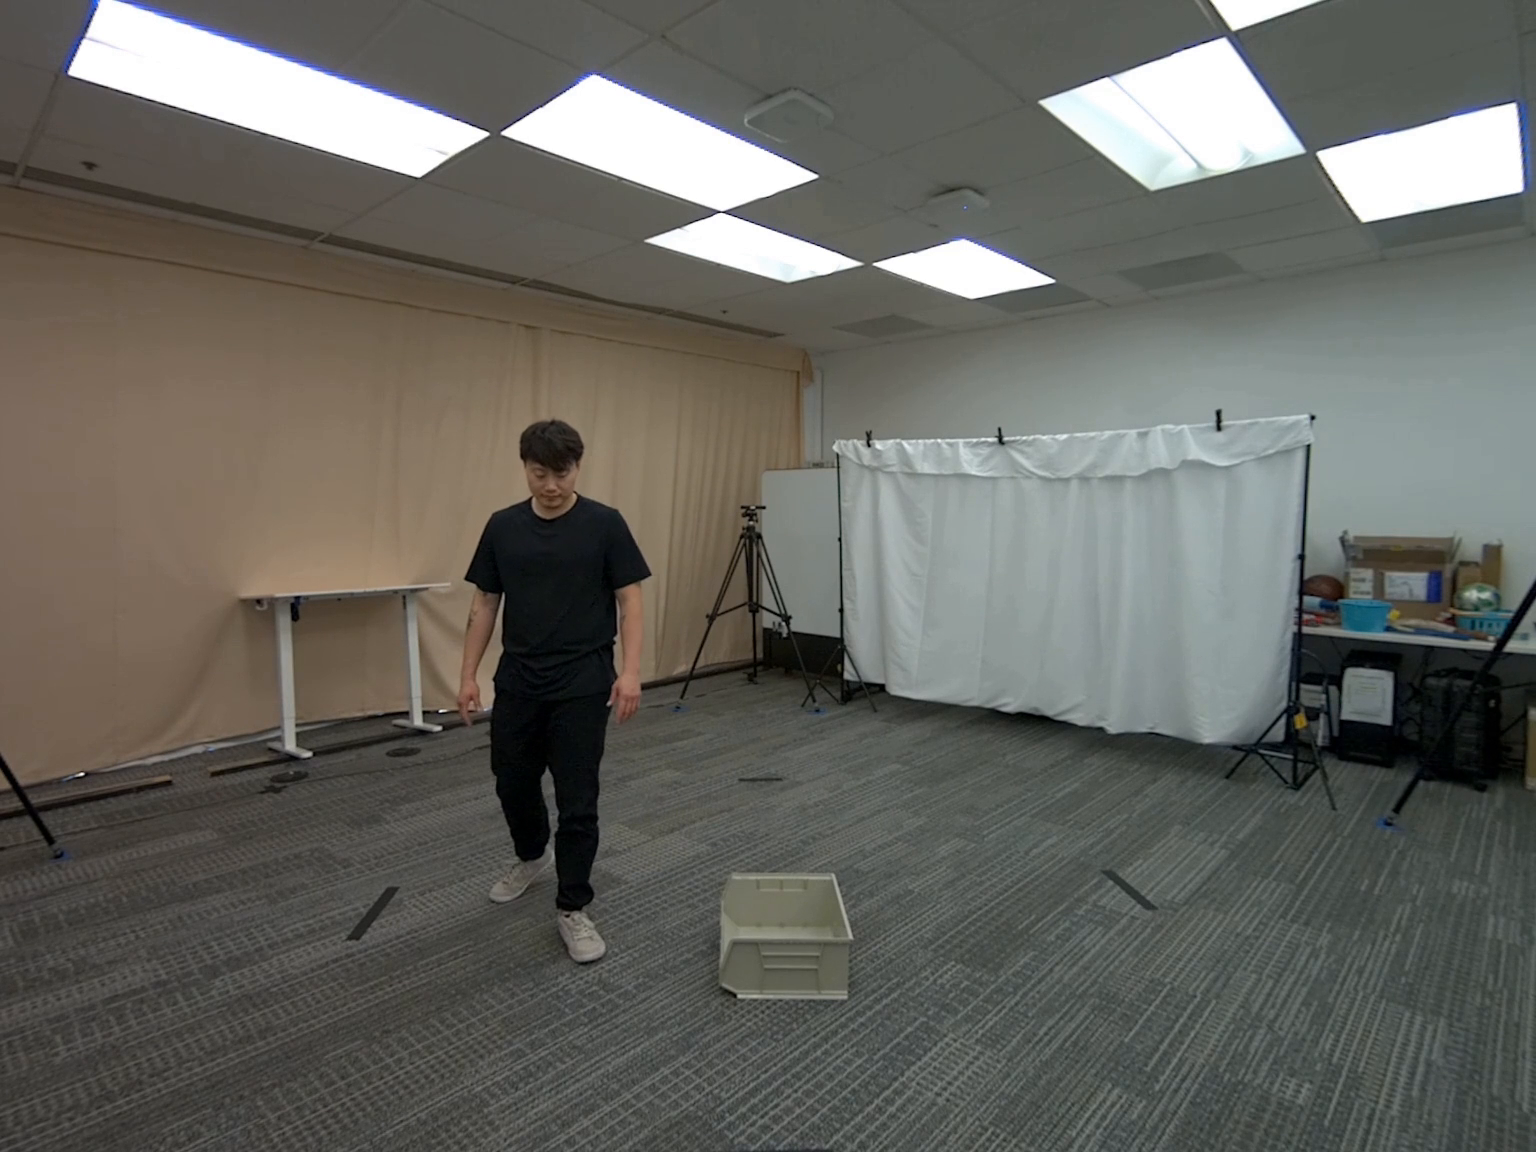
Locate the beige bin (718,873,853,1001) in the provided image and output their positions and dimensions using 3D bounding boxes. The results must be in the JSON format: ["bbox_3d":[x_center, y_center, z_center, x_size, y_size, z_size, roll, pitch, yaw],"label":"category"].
[{"bbox_3d":[0.047,1.093,2.569,0.377,0.189,0.423,0,3,-2],"label":"beige bin"}]
